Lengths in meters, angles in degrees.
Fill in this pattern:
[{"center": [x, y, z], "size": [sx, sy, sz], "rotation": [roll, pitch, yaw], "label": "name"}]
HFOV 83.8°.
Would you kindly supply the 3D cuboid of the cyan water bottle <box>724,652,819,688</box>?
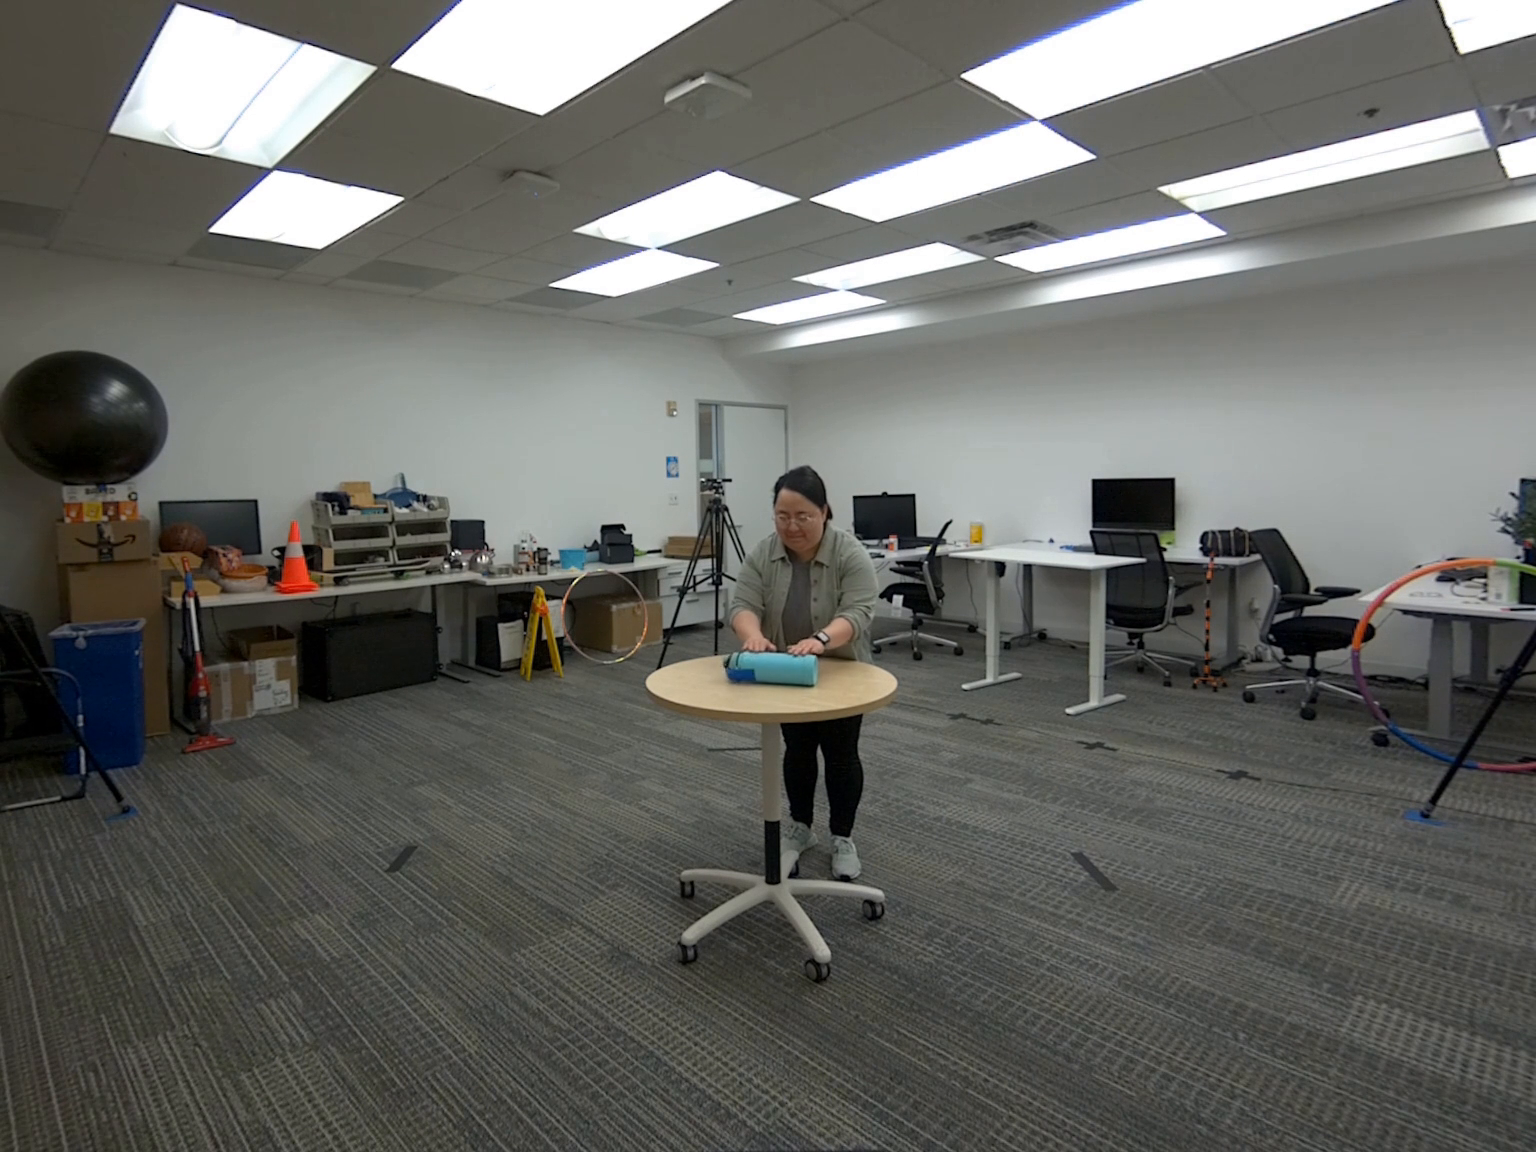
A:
[{"center": [0.012, 0.280, 2.568], "size": [0.287, 0.092, 0.091], "rotation": [0, 5, 14], "label": "cyan water bottle"}]
